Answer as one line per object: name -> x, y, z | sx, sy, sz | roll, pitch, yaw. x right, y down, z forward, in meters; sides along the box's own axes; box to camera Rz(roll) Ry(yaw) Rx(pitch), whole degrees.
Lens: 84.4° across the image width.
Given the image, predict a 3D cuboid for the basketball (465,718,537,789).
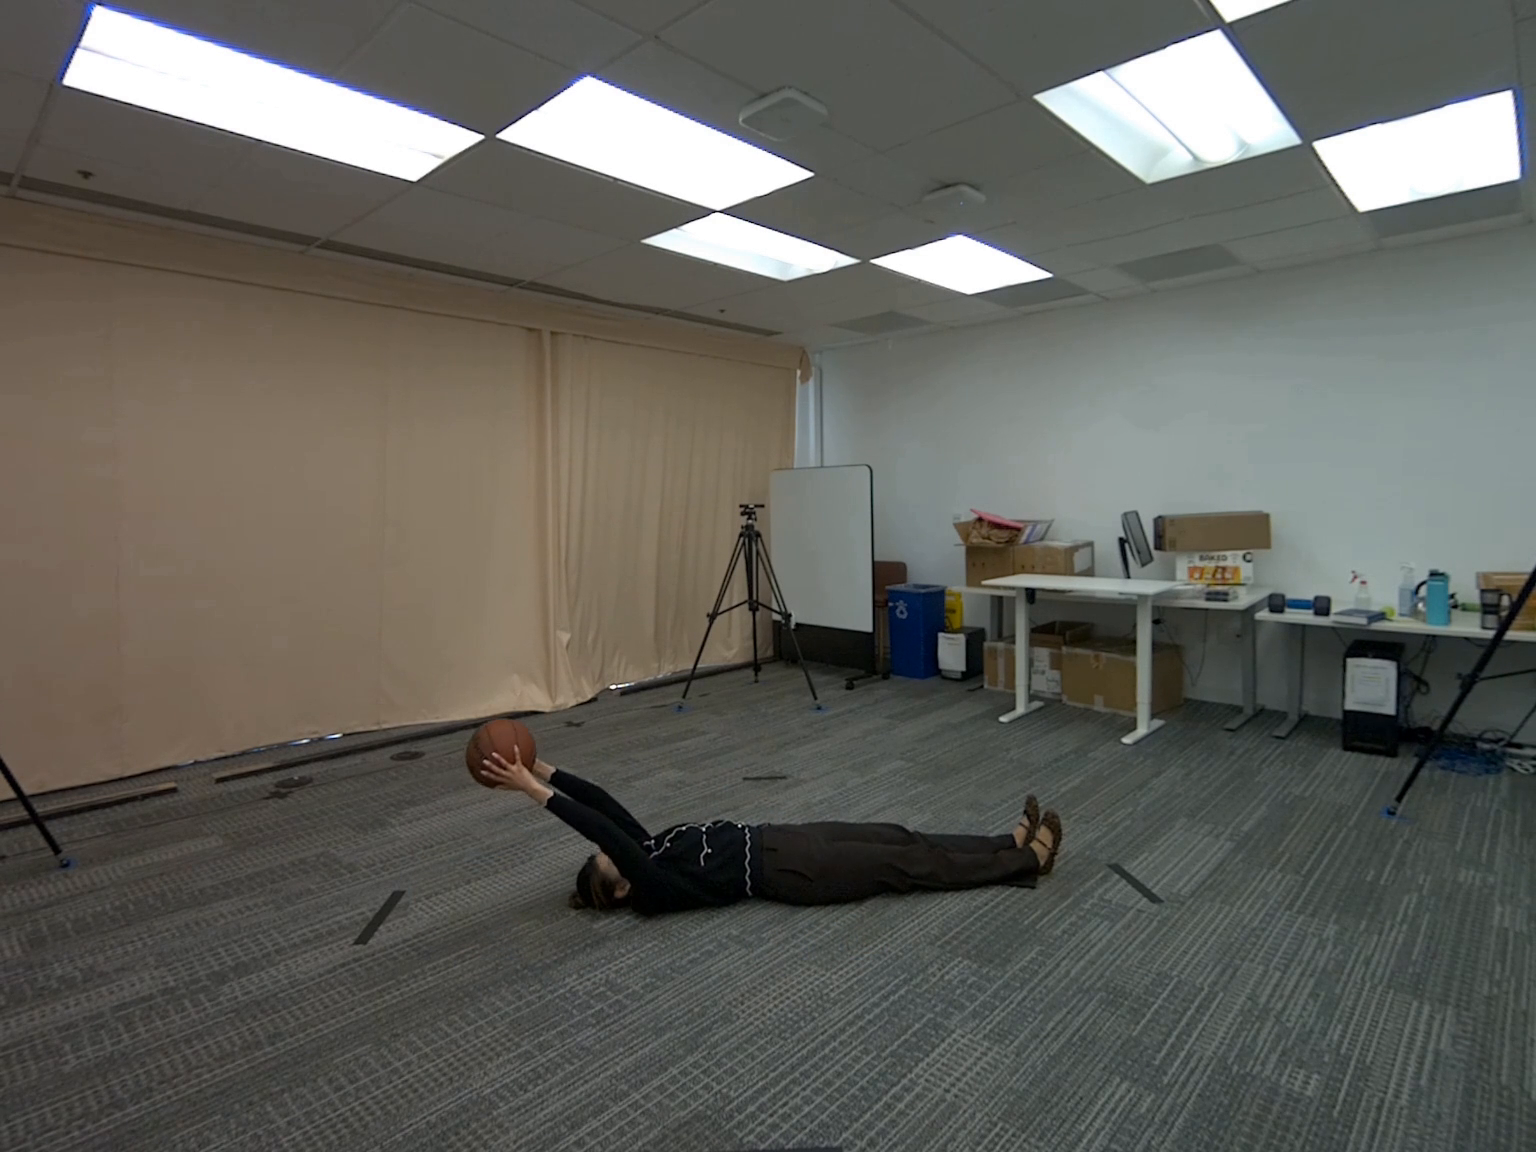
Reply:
basketball -> -0.907, 0.610, 2.876 | 0.236, 0.235, 0.237 | -1, 4, -2
